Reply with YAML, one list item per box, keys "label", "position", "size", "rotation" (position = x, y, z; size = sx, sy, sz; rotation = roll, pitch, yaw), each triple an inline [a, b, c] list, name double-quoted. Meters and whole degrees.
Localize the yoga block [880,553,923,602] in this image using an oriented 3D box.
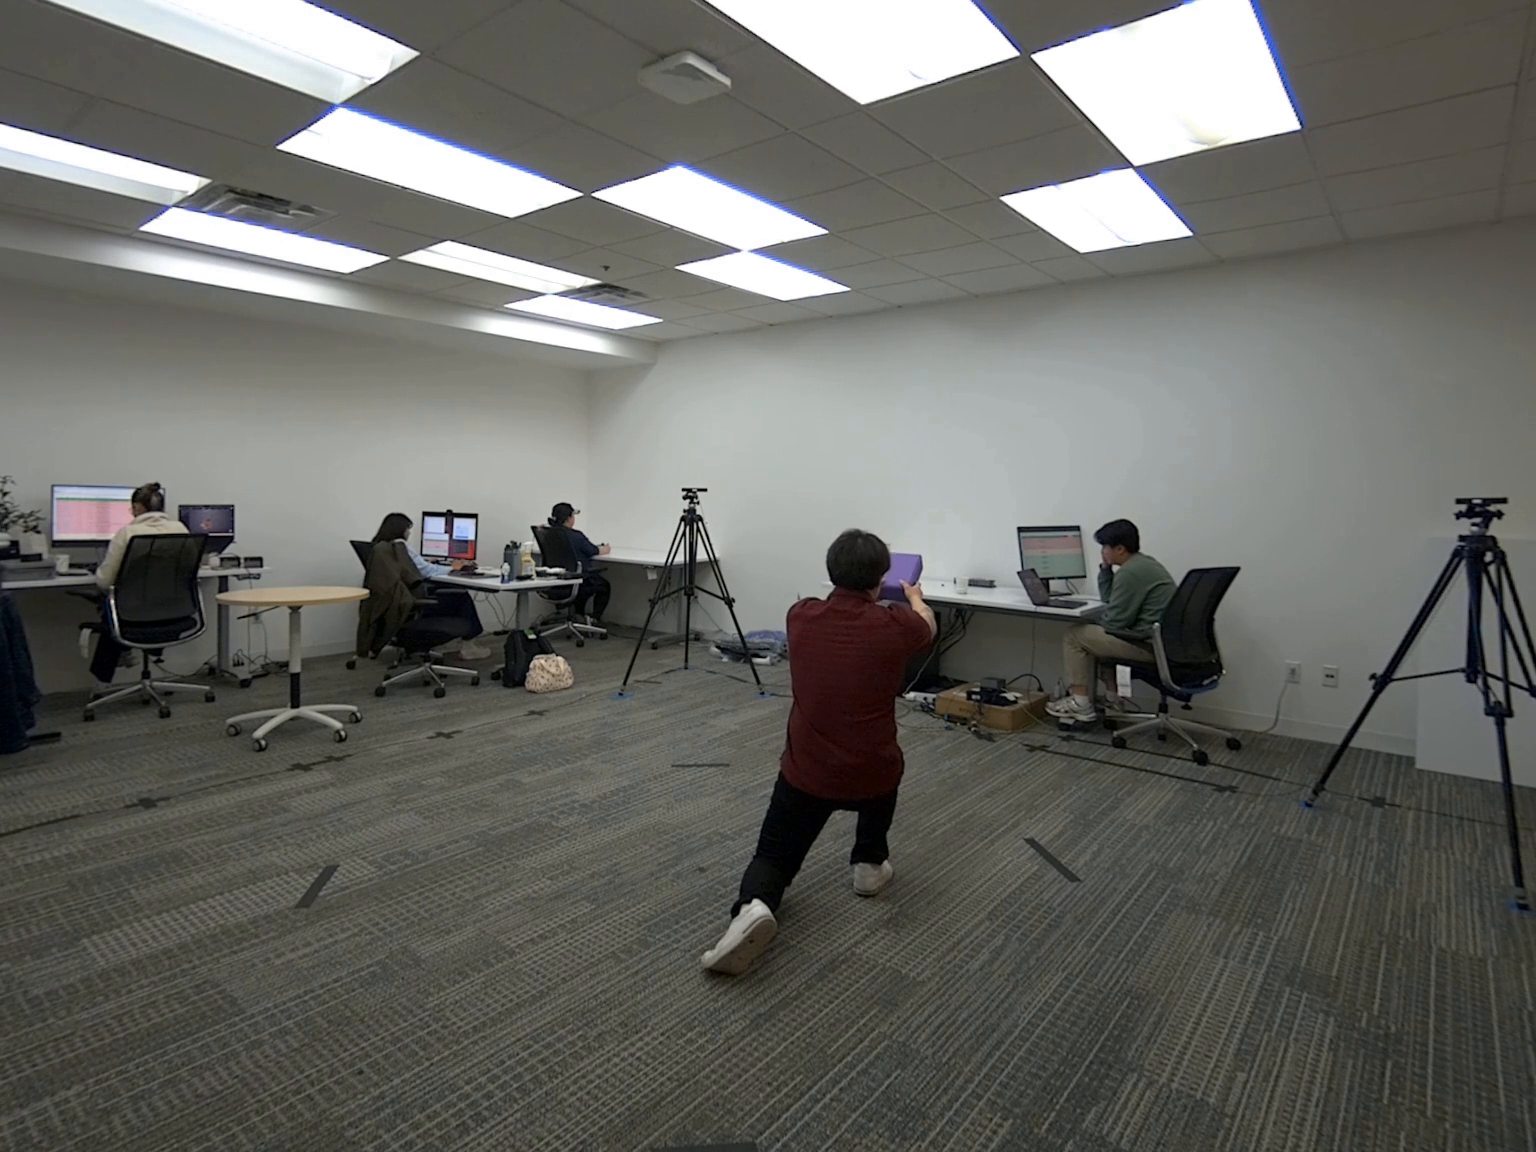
- label: "yoga block"
  position: [0.521, 0.003, 3.412]
  size: [0.153, 0.074, 0.231]
  rotation: [4, 37, 24]
